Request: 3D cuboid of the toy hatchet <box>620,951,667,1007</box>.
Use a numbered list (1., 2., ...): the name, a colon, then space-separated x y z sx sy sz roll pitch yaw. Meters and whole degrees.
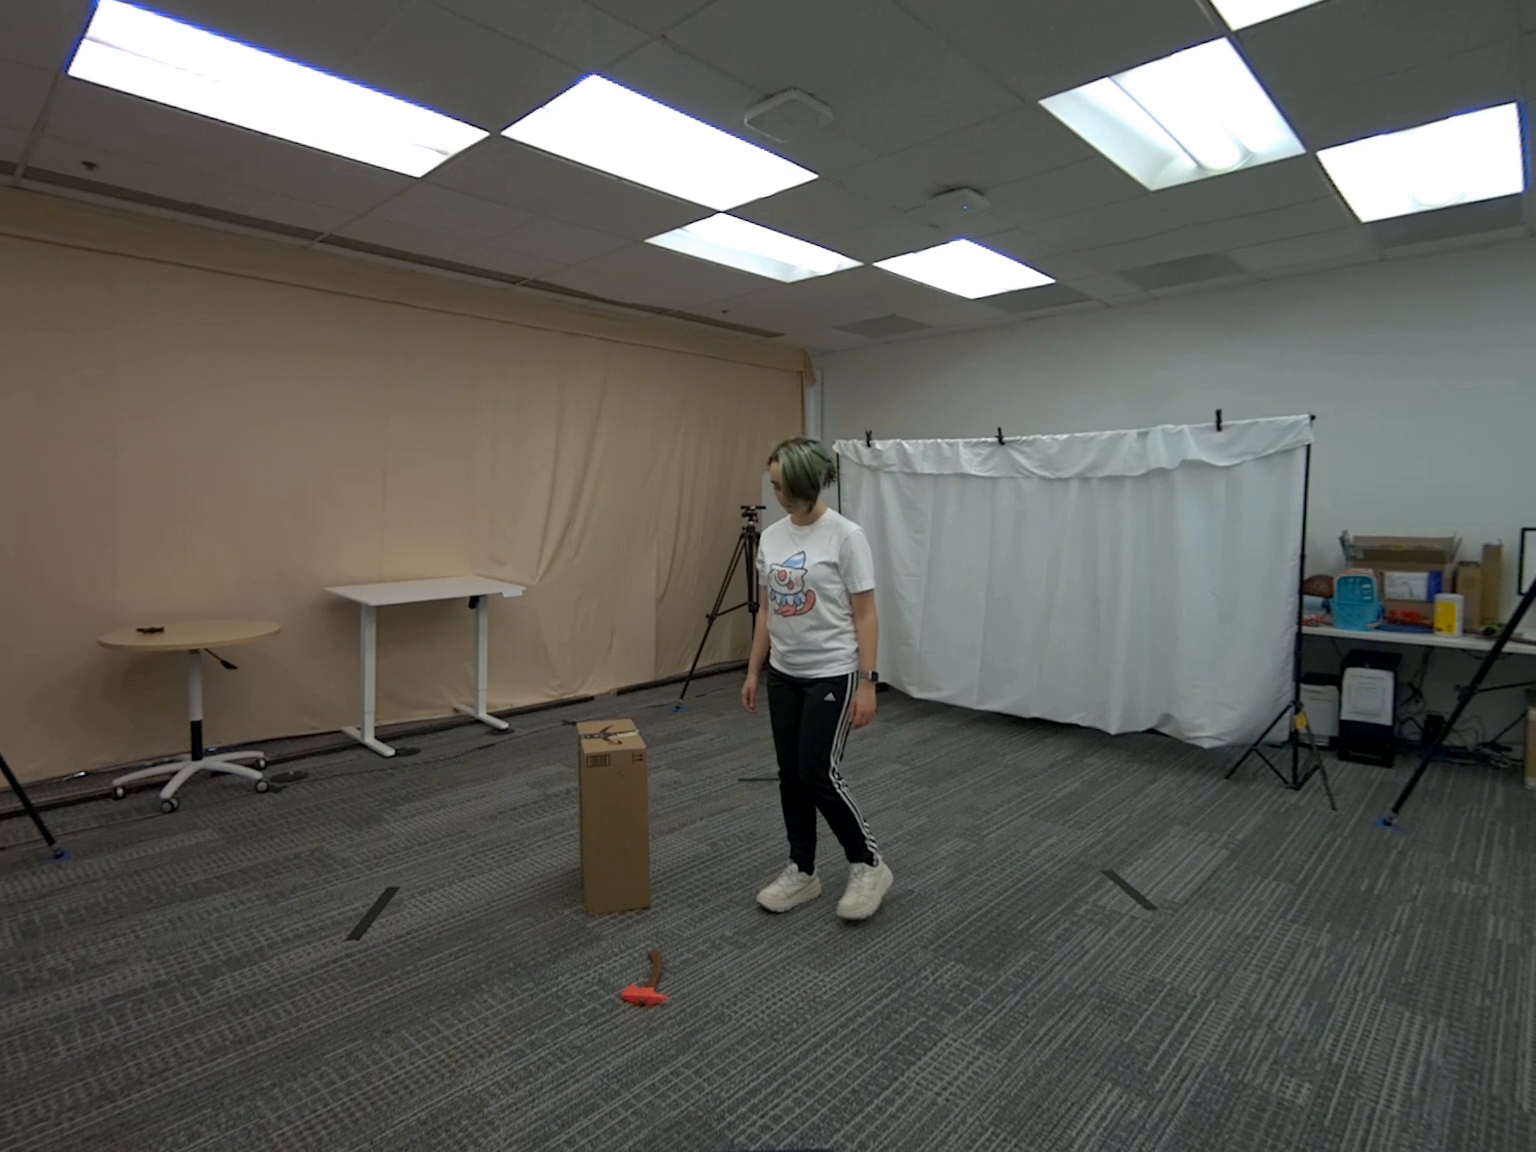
1. toy hatchet: -0.368 1.180 2.467 0.130 0.029 0.273 -5 4 -10
